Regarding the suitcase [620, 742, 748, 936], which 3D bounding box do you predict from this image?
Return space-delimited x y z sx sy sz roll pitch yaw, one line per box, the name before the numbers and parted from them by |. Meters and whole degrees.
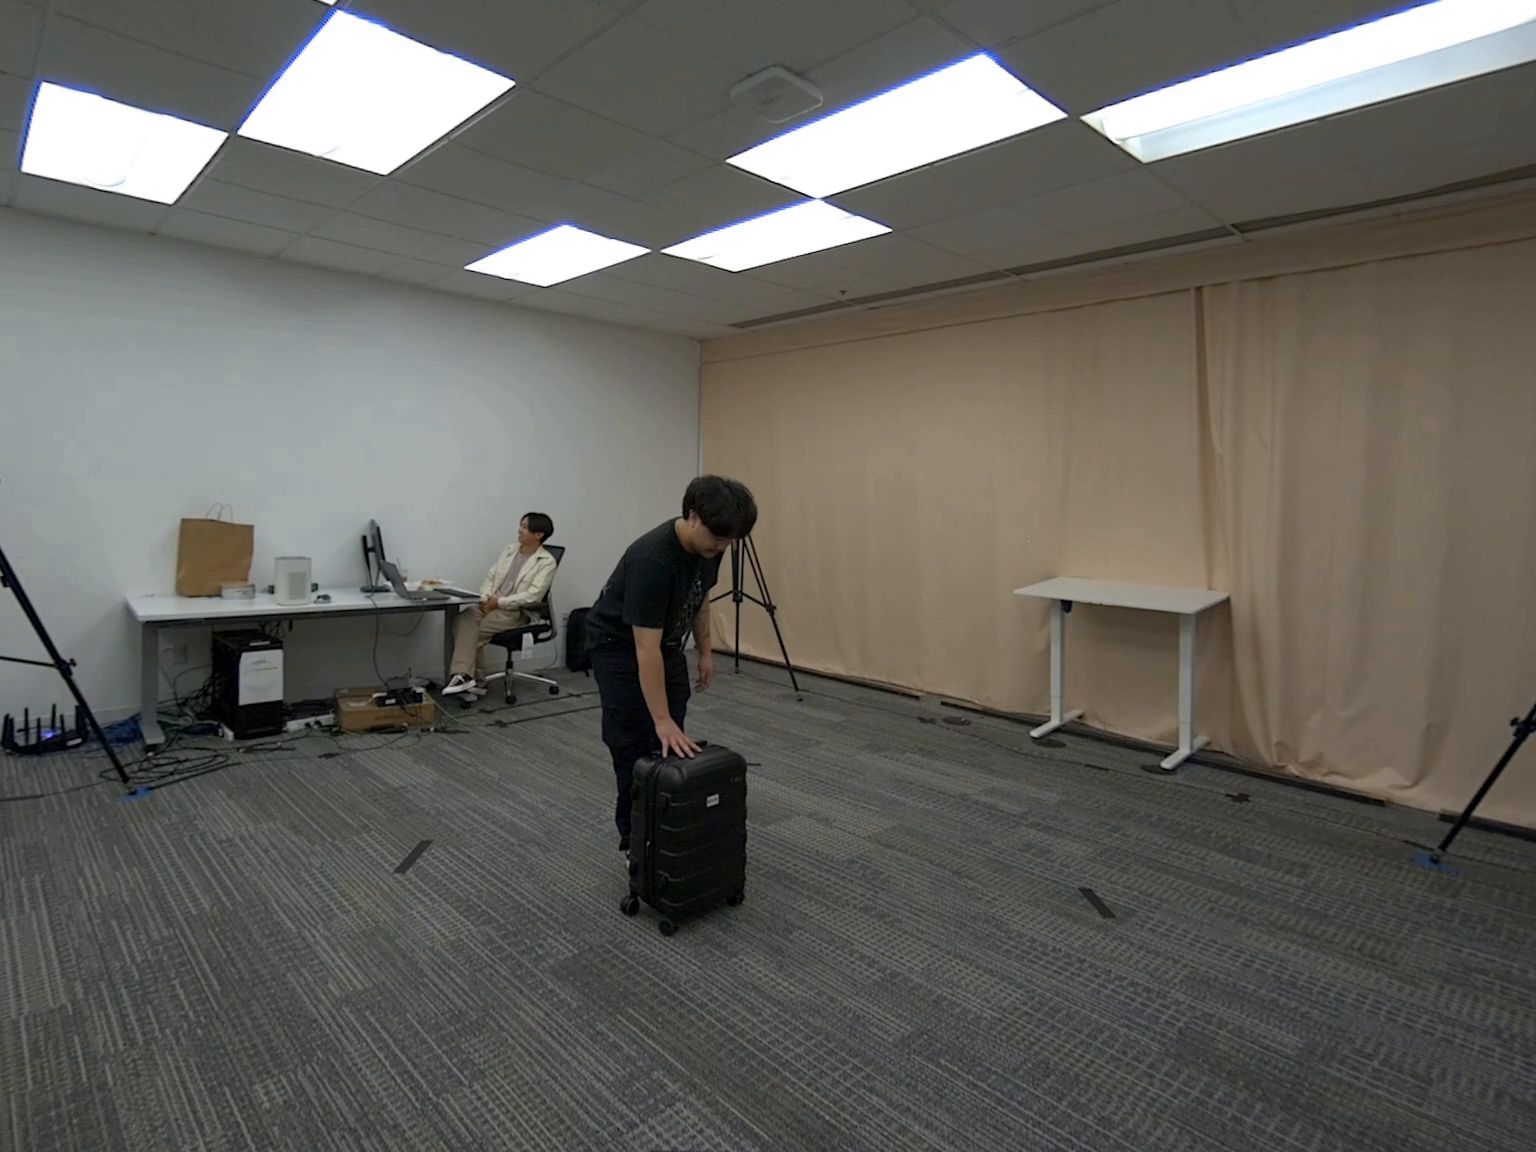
suitcase | -0.268 0.854 2.837 0.255 0.548 0.367 6 5 44
